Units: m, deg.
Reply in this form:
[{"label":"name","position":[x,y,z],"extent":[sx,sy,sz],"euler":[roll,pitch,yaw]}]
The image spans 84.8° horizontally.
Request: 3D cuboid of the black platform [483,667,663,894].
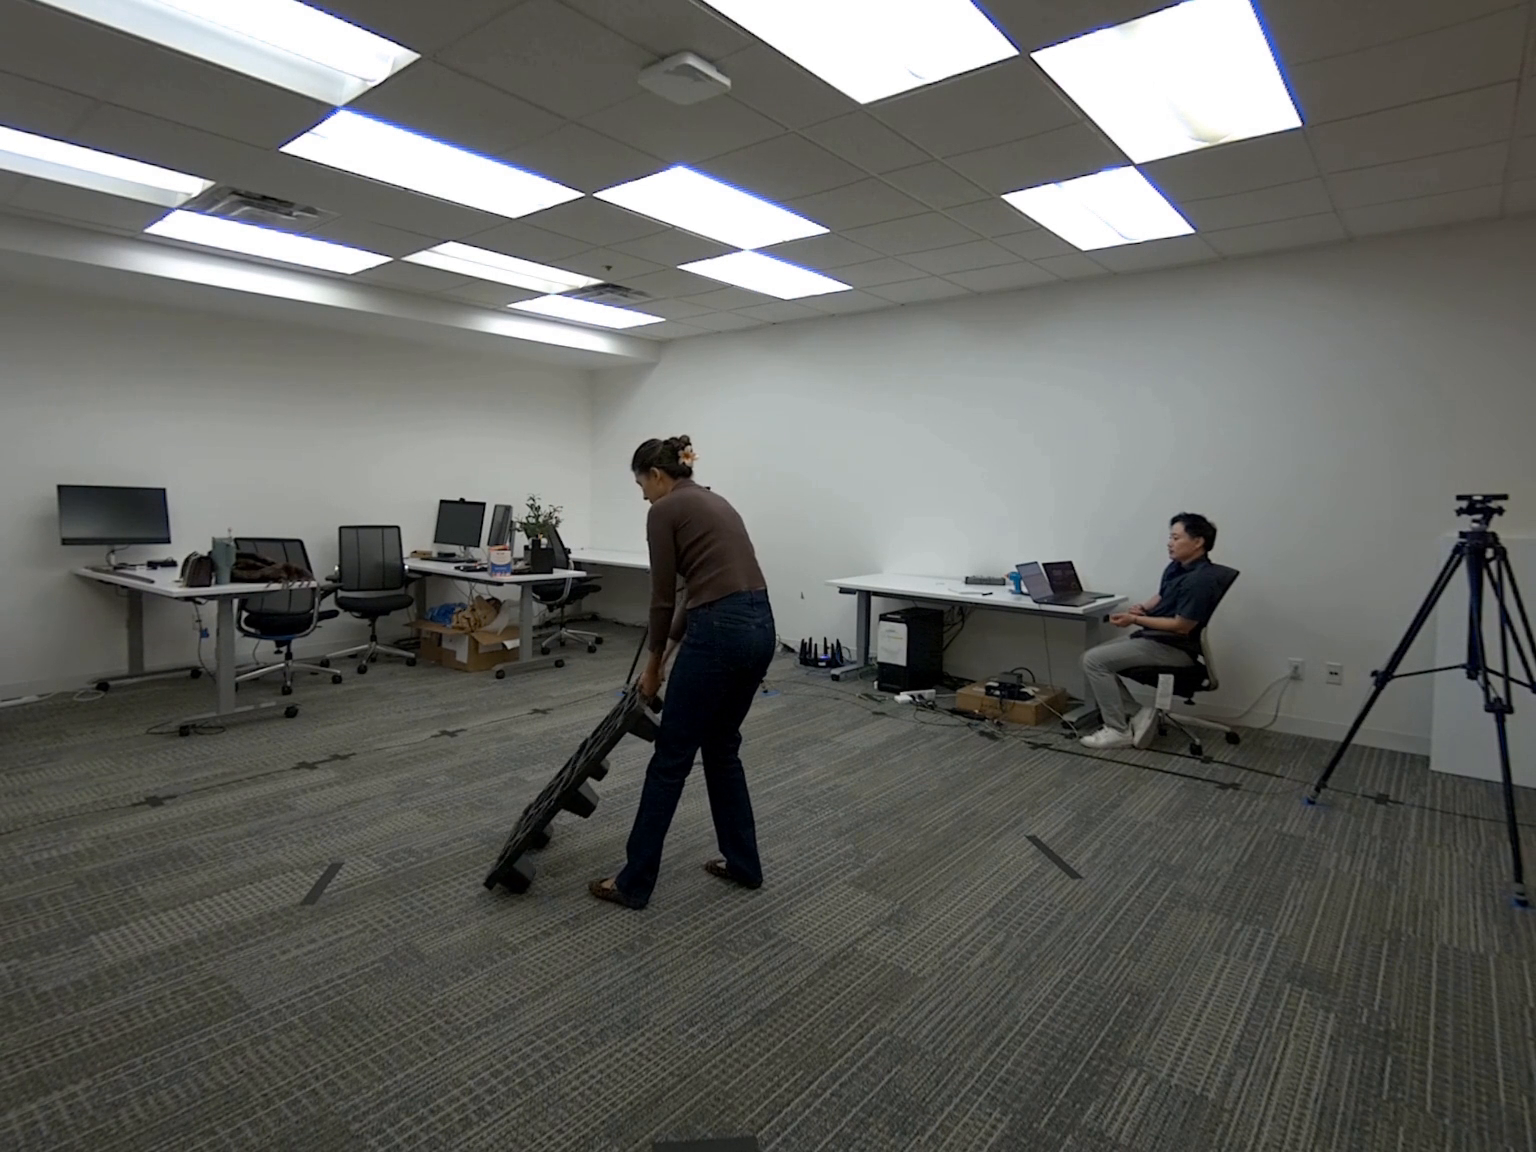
[{"label":"black platform","position":[-0.674,0.732,3.108],"extent":[0.142,0.805,0.610],"euler":[39,2,-8]}]
